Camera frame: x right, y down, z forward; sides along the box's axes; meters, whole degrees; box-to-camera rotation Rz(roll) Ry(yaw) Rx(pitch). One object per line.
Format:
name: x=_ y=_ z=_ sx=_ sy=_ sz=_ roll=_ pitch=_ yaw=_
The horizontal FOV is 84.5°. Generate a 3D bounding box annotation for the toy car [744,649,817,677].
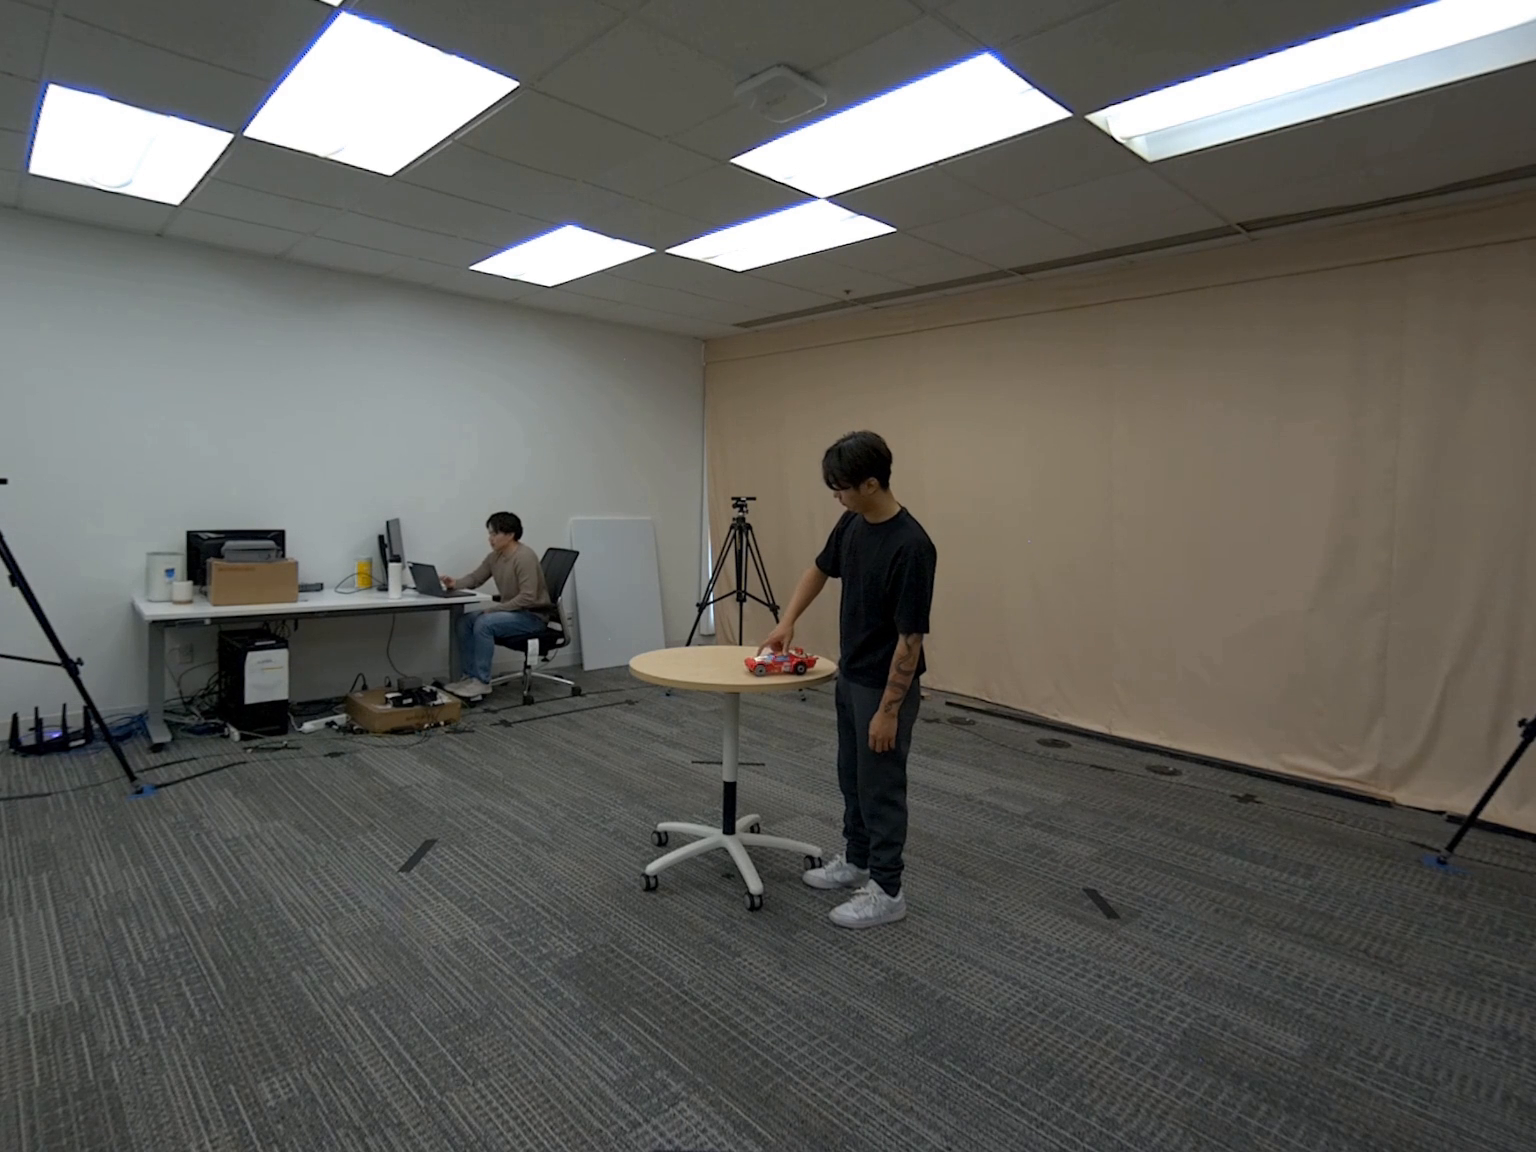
toy car: x=0.047 y=0.307 z=2.947 sx=0.252 sy=0.083 sz=0.132 roll=-12 pitch=8 yaw=-12
